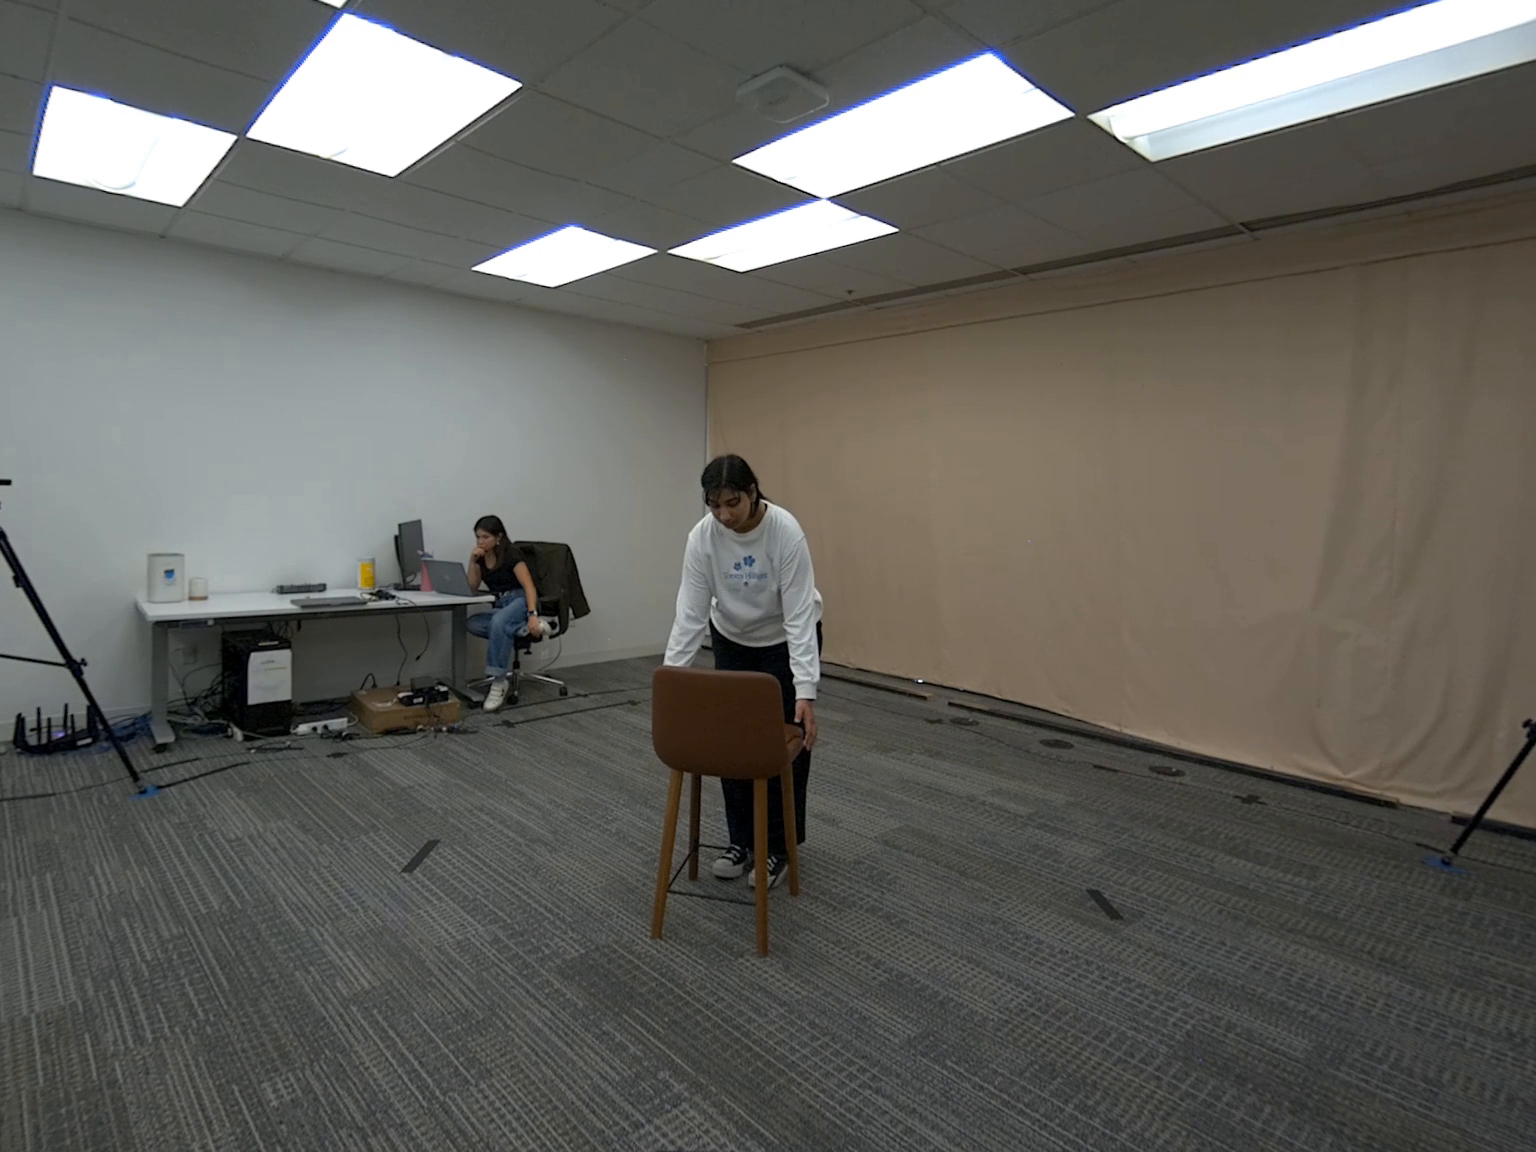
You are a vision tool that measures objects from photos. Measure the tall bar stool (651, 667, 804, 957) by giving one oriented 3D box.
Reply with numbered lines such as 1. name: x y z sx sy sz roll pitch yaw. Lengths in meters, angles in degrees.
1. tall bar stool: -0.138 0.703 2.787 0.462 0.886 0.464 2 6 14
